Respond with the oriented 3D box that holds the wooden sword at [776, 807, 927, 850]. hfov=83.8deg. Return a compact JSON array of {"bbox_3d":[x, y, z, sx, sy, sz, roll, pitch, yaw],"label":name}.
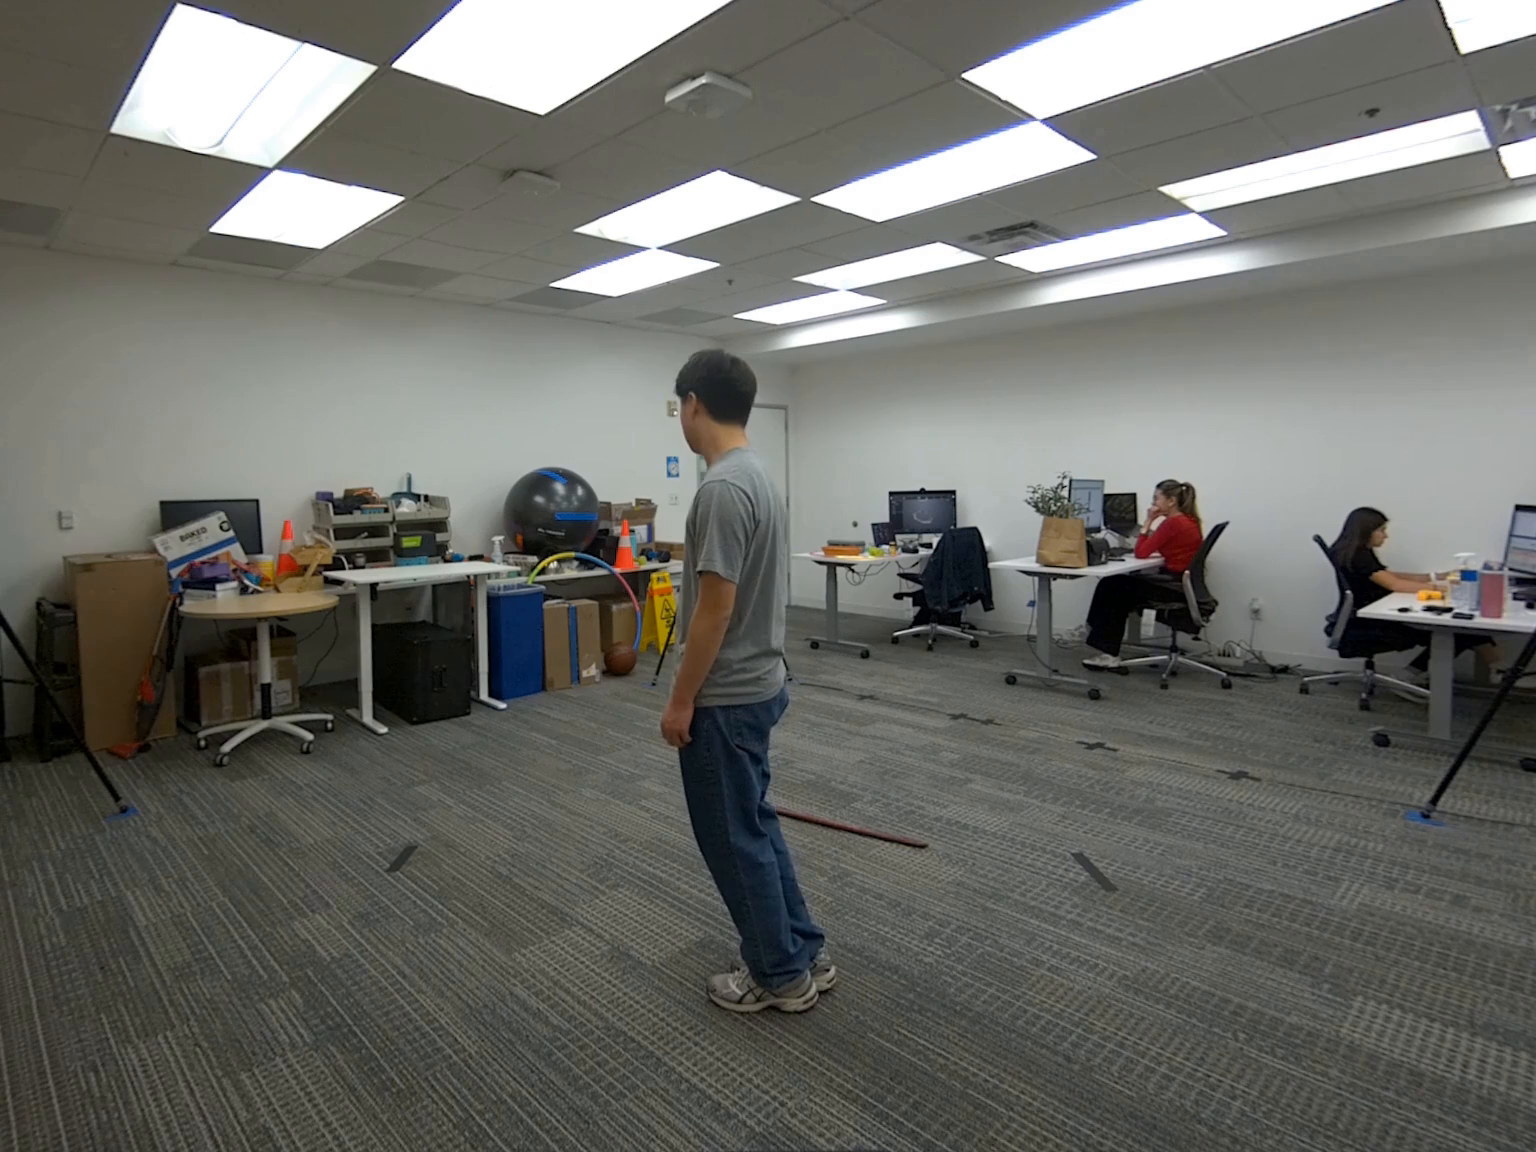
[{"bbox_3d":[0.157,0.974,3.486,1.054,0.023,0.051,4,38,34],"label":"wooden sword"}]
